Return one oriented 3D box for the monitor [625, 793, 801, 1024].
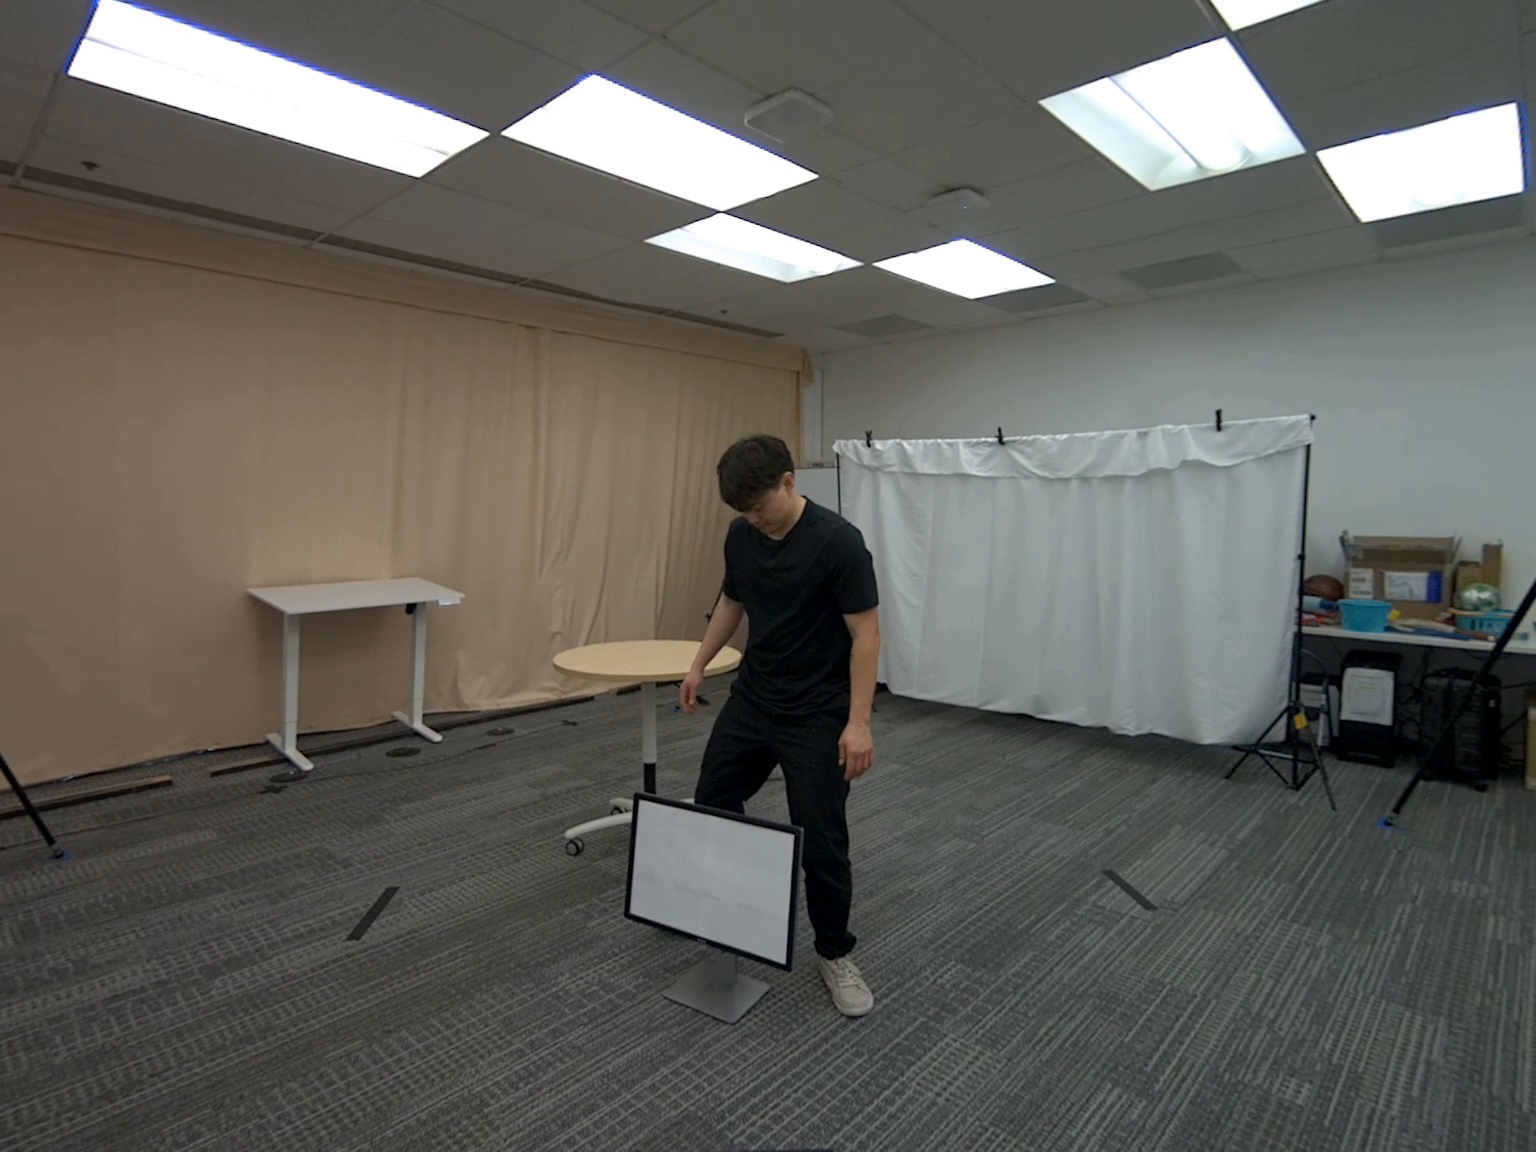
[{"bbox_3d":[-0.145,0.927,2.392,0.555,0.521,0.182,2,5,31],"label":"monitor"}]
